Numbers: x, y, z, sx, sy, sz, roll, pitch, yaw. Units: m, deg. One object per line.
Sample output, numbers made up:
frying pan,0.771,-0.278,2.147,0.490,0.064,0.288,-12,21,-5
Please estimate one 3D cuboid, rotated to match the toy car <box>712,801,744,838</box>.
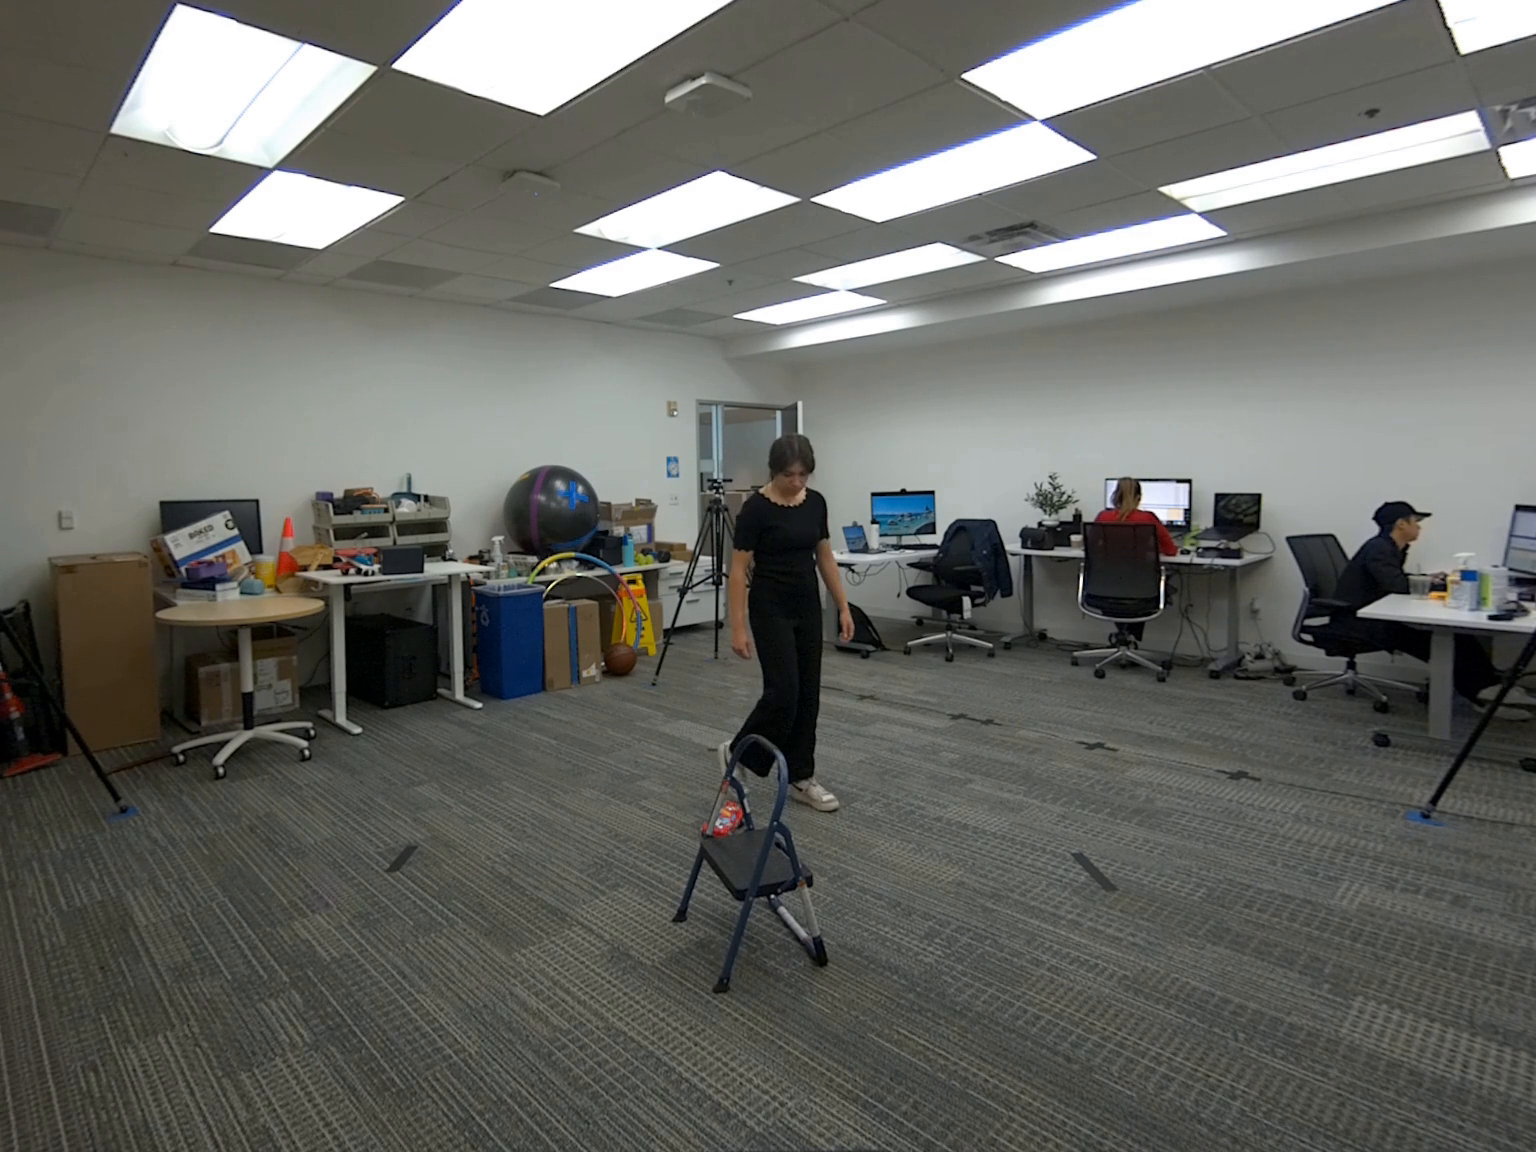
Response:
toy car,-0.165,0.991,3.425,0.133,0.082,0.253,-2,16,22
